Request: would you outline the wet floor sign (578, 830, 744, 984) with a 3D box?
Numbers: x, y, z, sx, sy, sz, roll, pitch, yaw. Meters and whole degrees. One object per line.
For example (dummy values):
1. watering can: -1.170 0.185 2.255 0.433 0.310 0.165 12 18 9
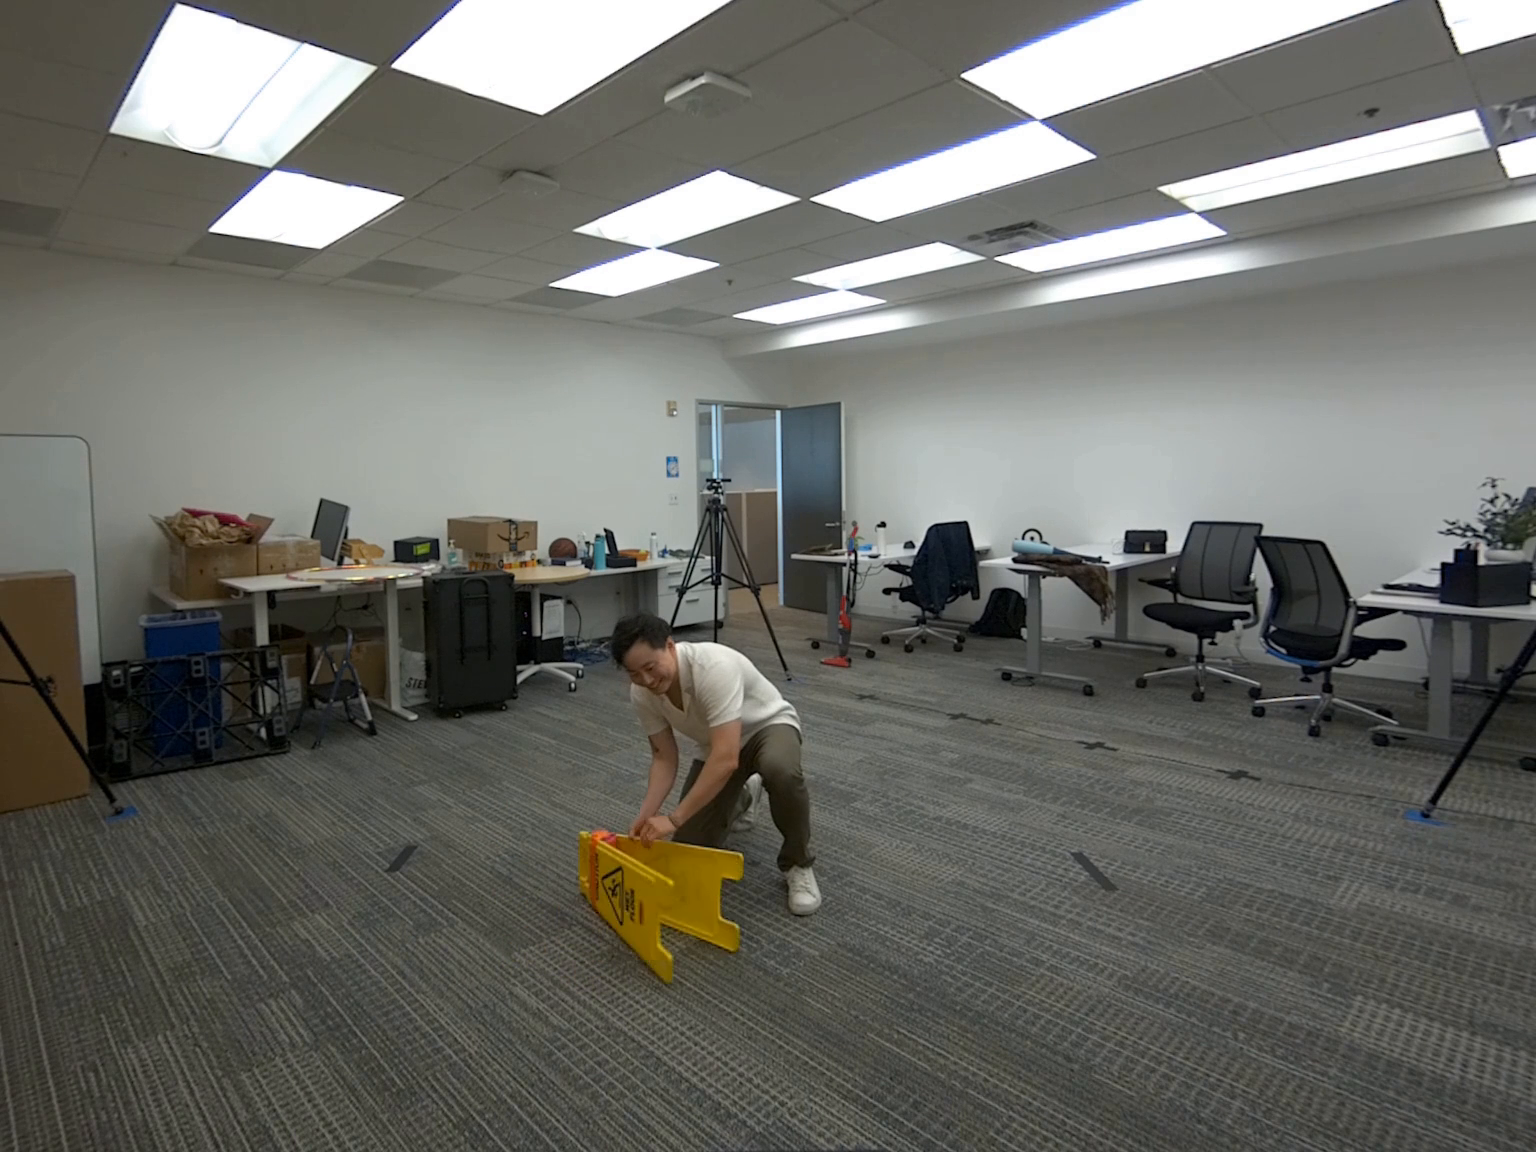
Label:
1. wet floor sign: -0.412 0.971 2.679 0.281 0.282 0.665 -1 1 -44
